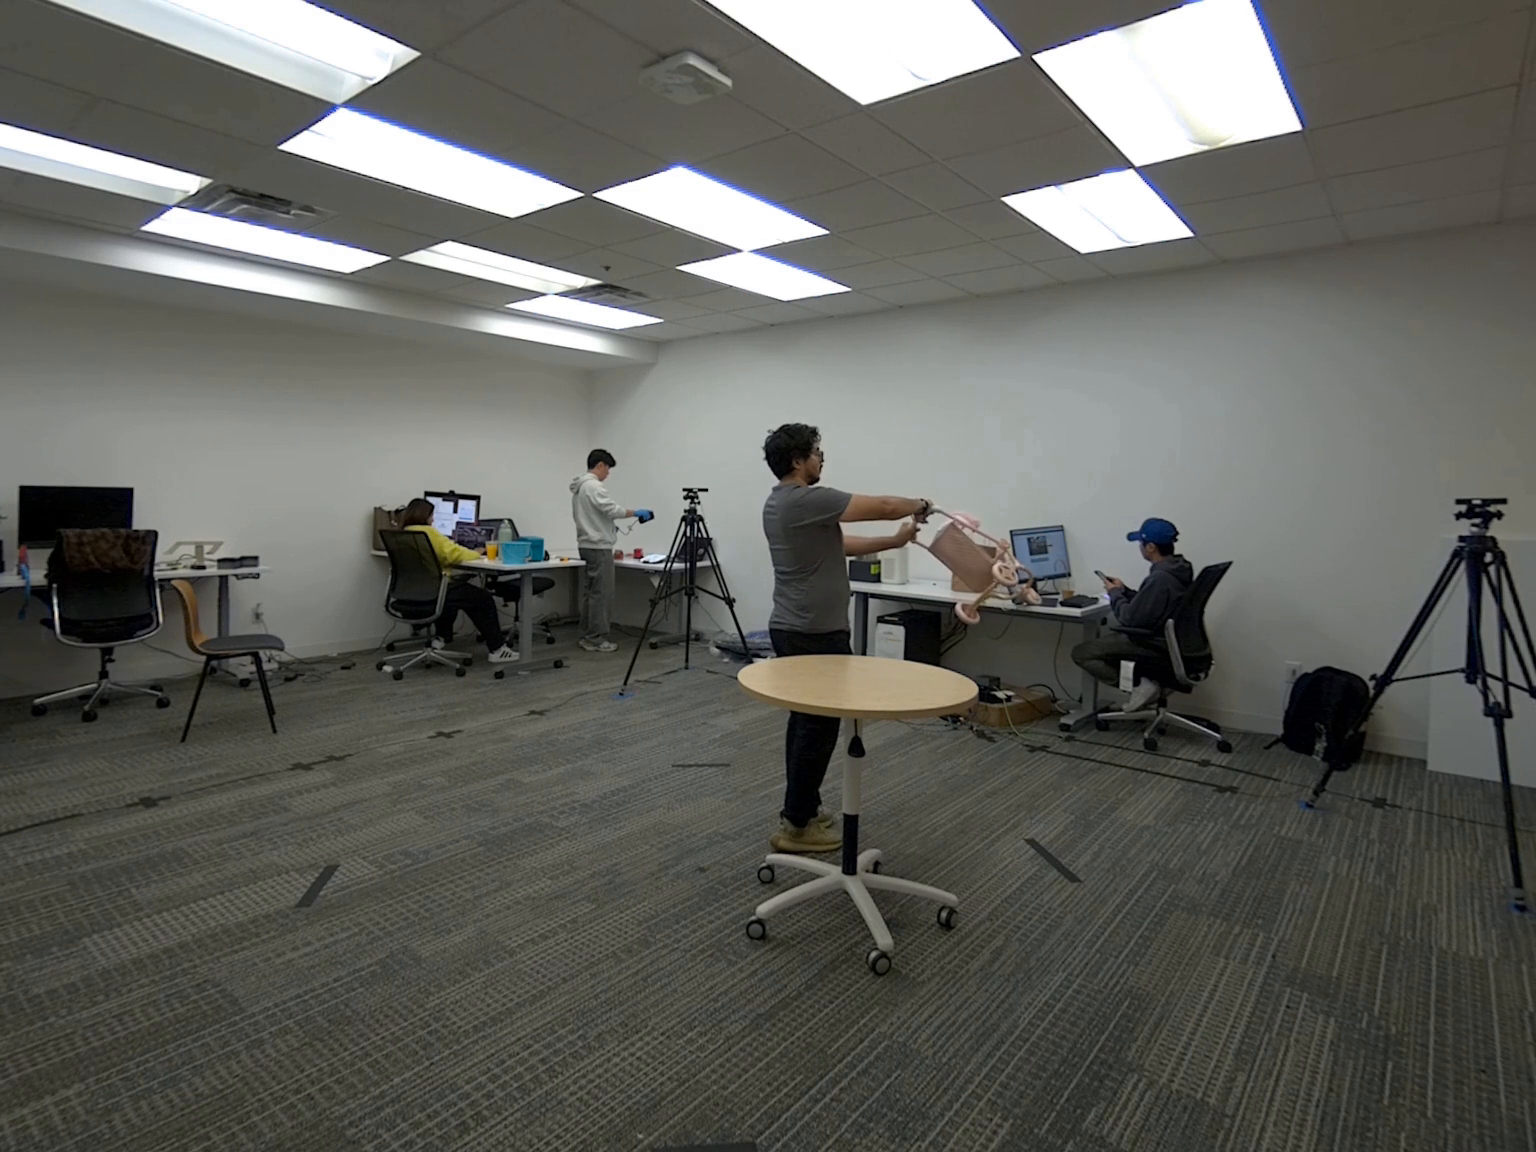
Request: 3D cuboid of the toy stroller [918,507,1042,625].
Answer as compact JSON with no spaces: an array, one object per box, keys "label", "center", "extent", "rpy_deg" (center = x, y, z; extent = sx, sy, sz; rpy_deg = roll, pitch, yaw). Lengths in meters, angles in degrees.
[{"label":"toy stroller","center":[0.855,-0.063,3.485],"extent":[0.334,0.553,0.278],"rpy_deg":[-15,-31,-36]}]
